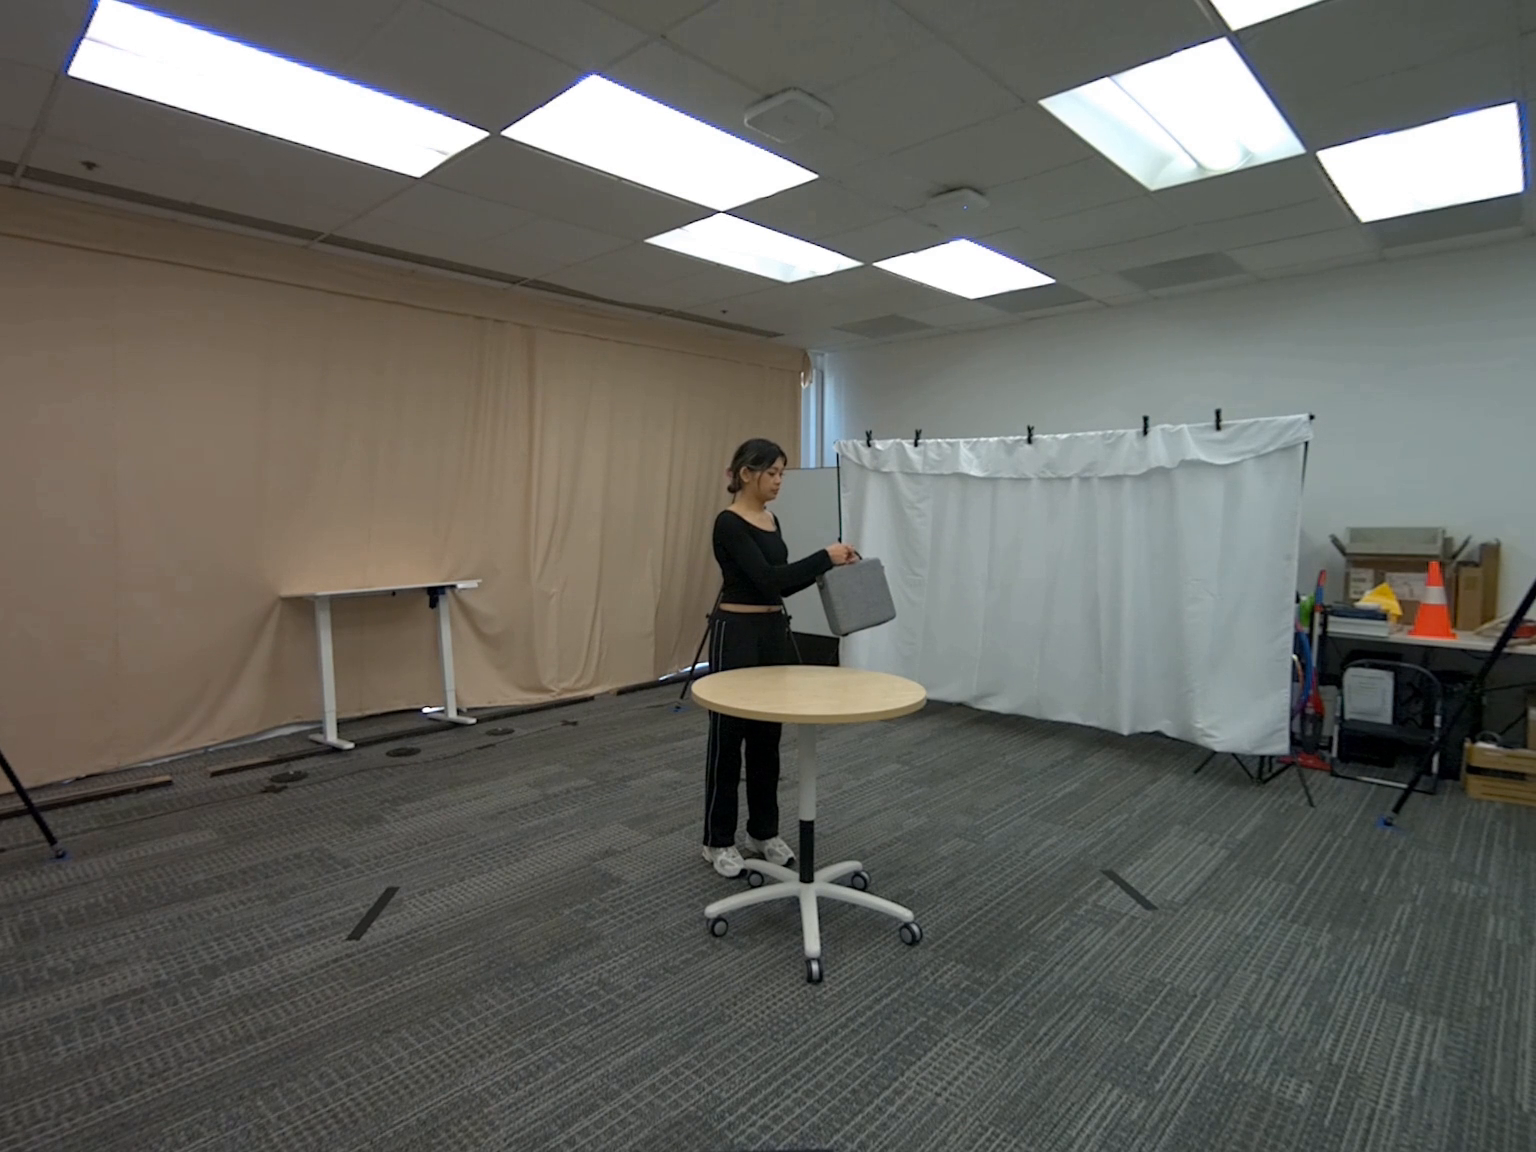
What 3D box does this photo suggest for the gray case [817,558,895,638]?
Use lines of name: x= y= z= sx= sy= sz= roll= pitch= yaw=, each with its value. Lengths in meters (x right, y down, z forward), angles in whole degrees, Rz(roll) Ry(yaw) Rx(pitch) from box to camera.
gray case: x=0.342 y=0.076 z=3.170 sx=0.252 sy=0.262 sz=0.105 roll=-15 pitch=-5 yaw=-20
